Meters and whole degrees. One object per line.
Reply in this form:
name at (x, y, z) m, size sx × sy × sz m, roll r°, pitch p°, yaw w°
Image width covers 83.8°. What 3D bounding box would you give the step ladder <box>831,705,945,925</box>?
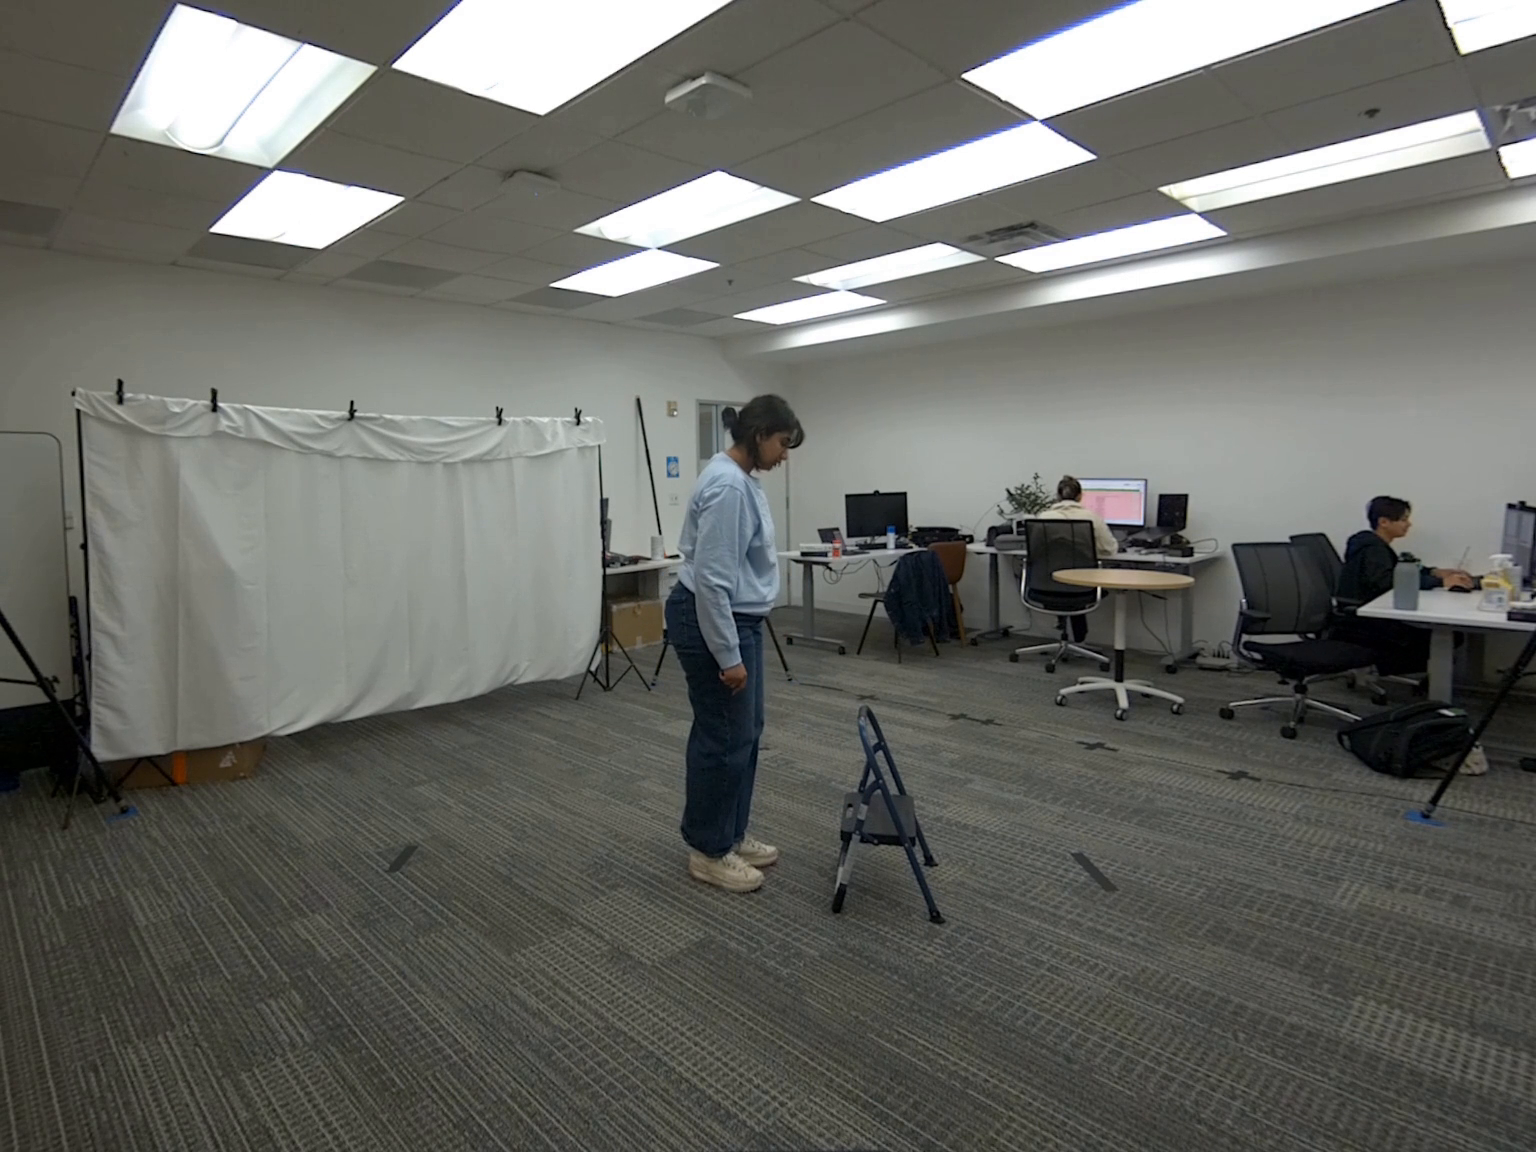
step ladder at (0.405, 0.759, 2.886) m, size 0.353 × 0.604 × 0.428 m, roll 0°, pitch 4°, yaw 10°
